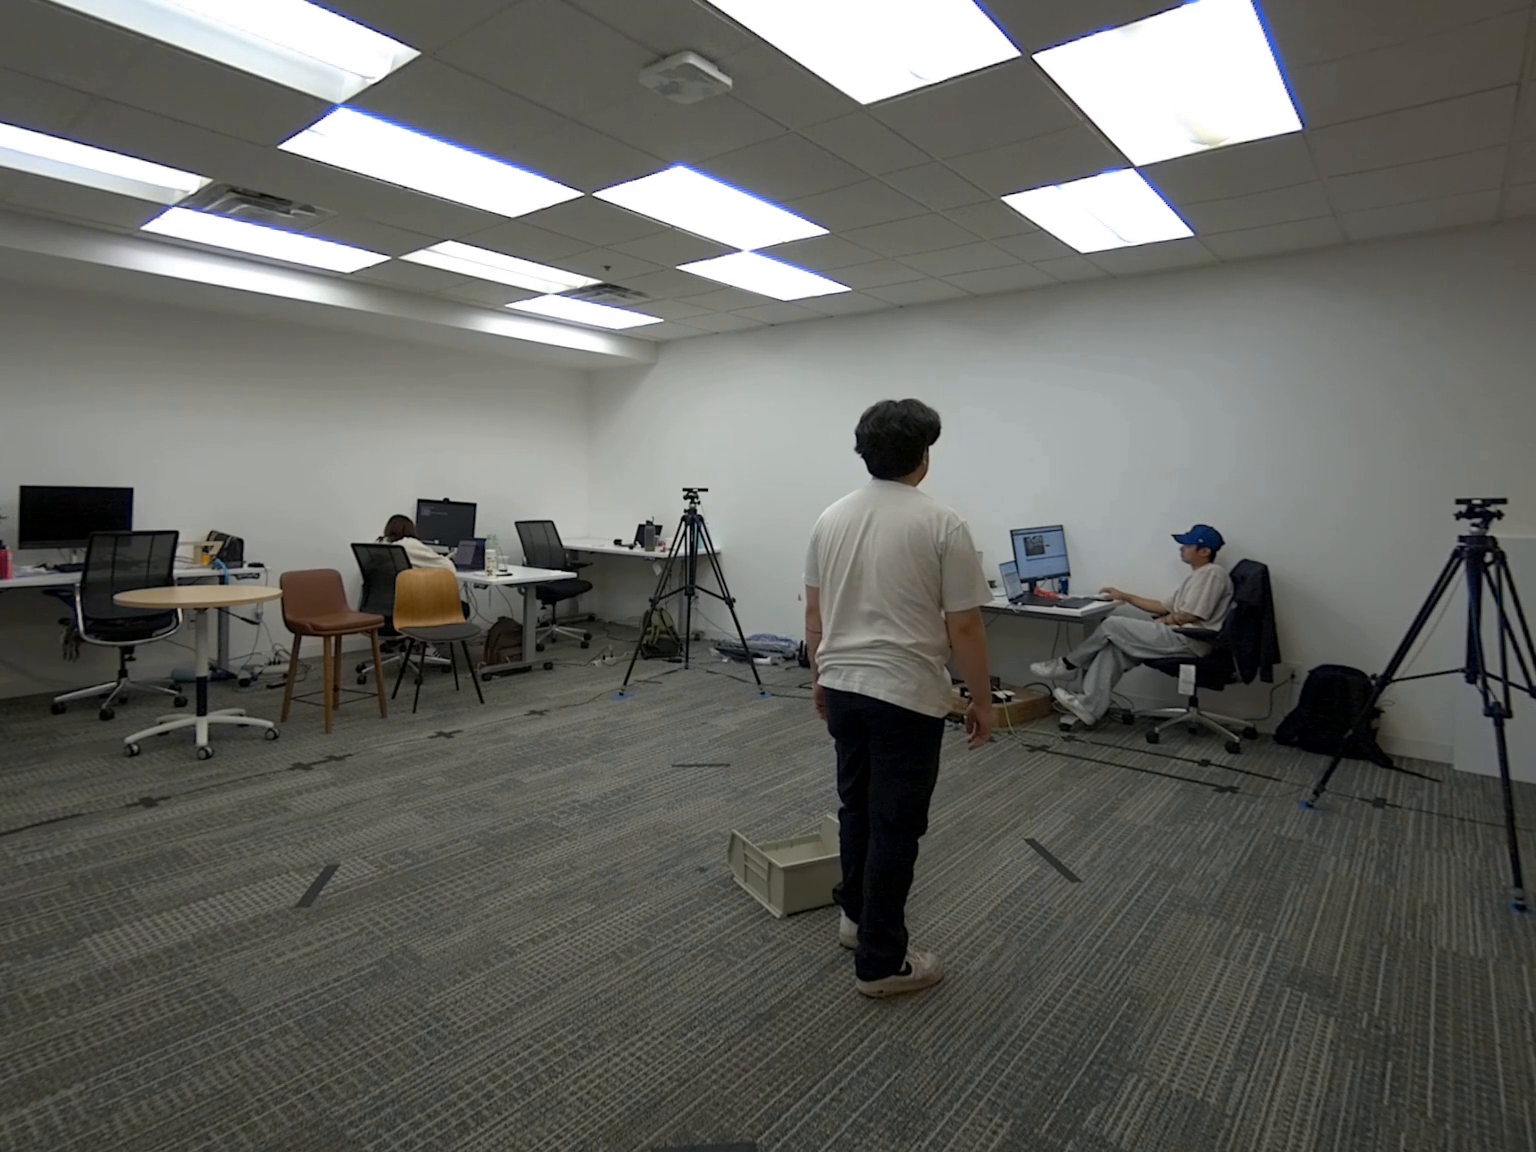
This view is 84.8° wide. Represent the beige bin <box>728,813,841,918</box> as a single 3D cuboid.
[{"bbox_3d":[0.116,0.997,2.998,0.411,0.188,0.389,-1,6,-29],"label":"beige bin"}]
